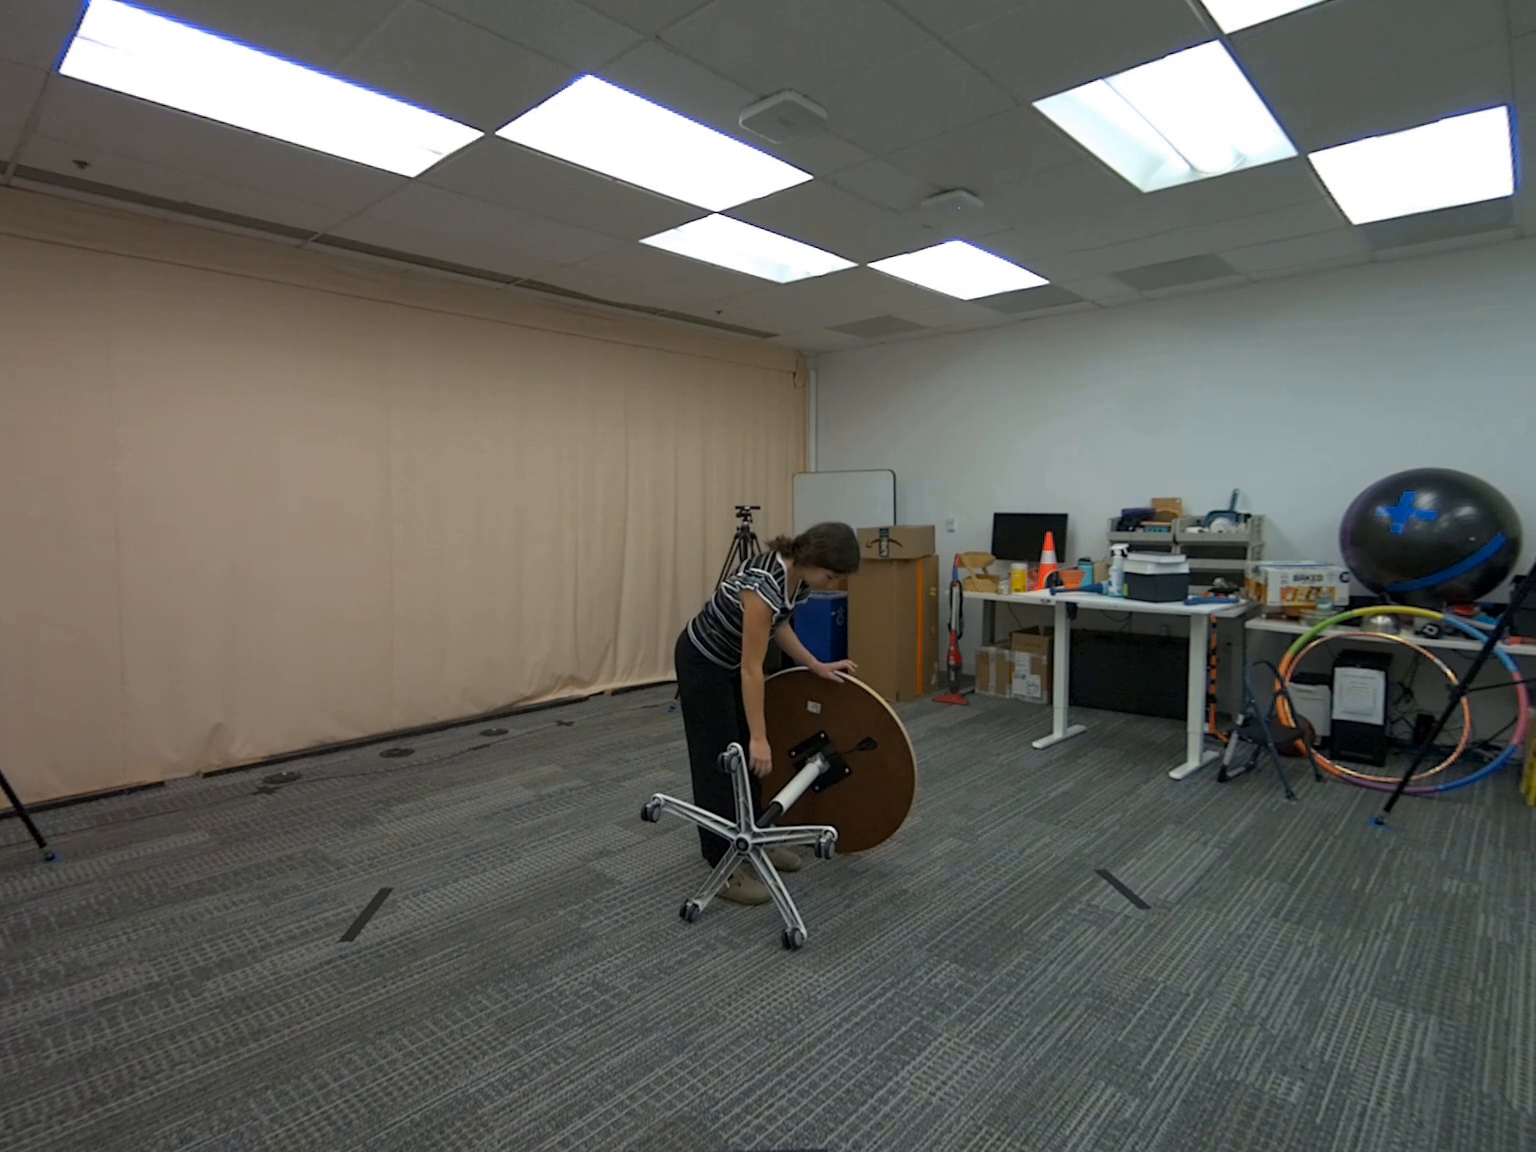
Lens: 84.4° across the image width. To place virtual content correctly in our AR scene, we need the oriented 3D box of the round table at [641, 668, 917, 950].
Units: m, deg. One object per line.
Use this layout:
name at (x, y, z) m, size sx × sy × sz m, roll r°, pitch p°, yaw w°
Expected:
round table at (0.053, 0.816, 3.012) m, size 0.785 × 0.758 × 0.778 m, roll 2°, pitch 12°, yaw 28°
